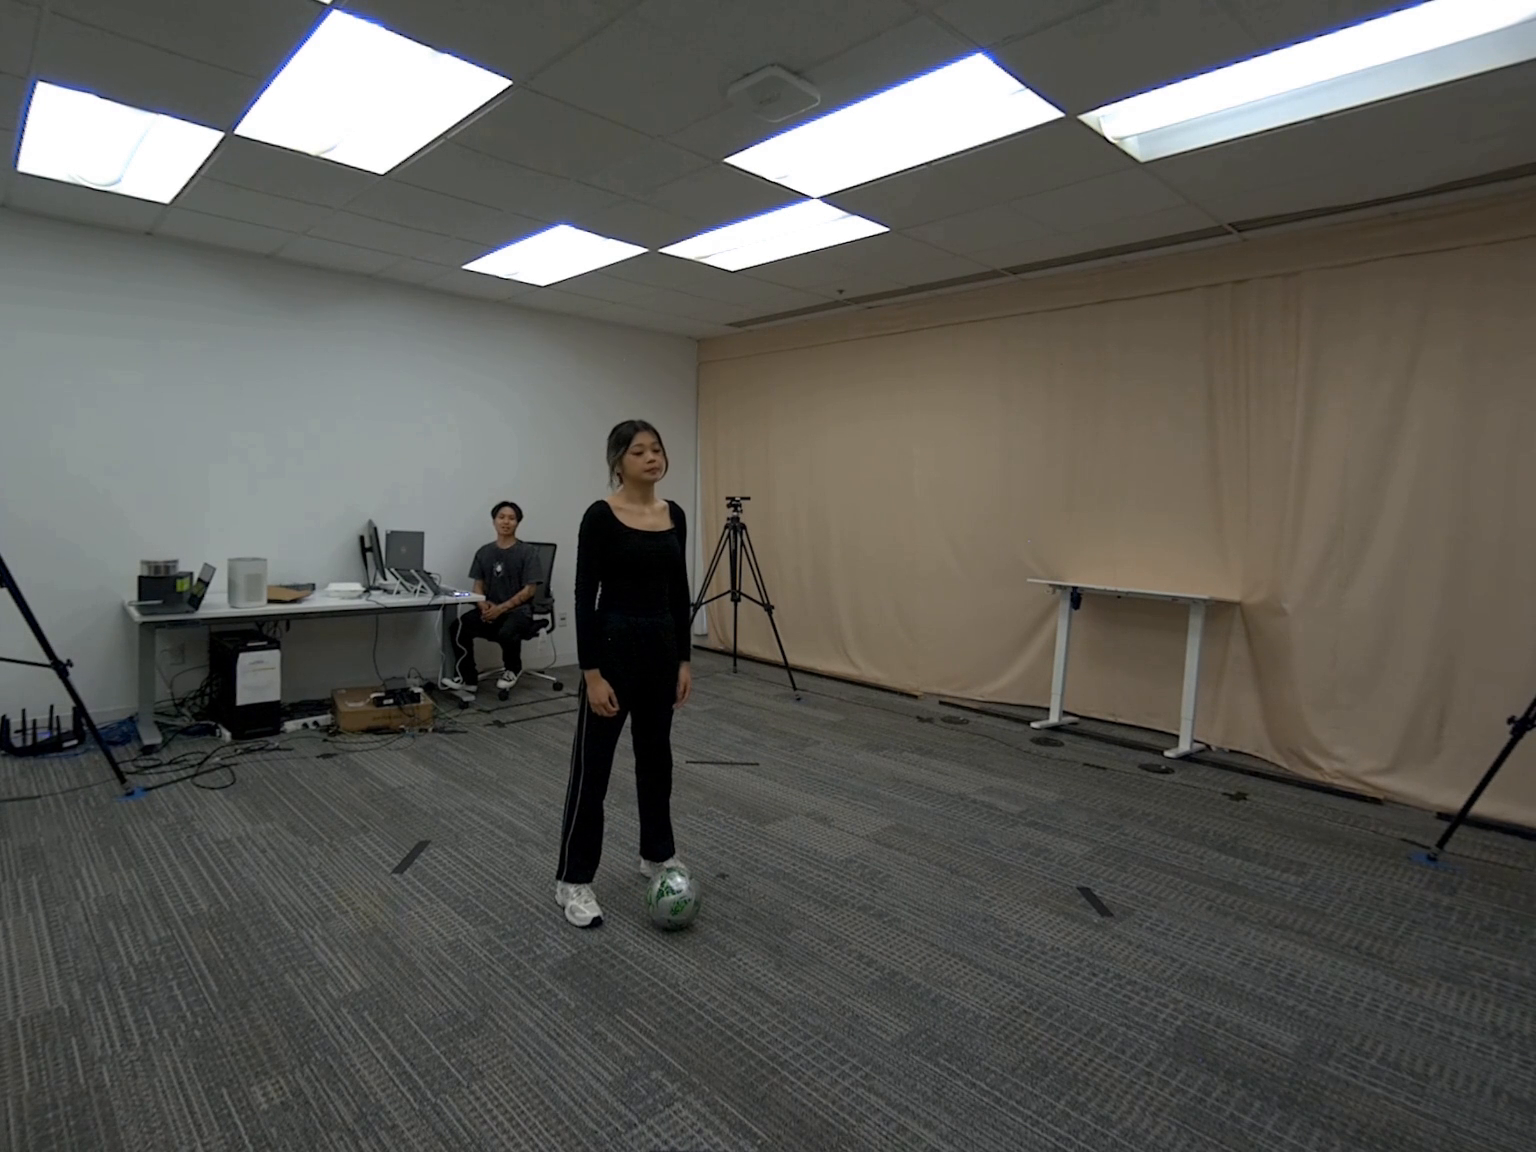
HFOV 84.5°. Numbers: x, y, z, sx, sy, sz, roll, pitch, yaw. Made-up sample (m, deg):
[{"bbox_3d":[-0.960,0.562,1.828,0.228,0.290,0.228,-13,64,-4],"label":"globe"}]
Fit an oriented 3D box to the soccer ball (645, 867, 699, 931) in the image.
[{"bbox_3d":[-0.311,1.050,2.719,0.187,0.187,0.188,1,4,-1],"label":"soccer ball"}]
